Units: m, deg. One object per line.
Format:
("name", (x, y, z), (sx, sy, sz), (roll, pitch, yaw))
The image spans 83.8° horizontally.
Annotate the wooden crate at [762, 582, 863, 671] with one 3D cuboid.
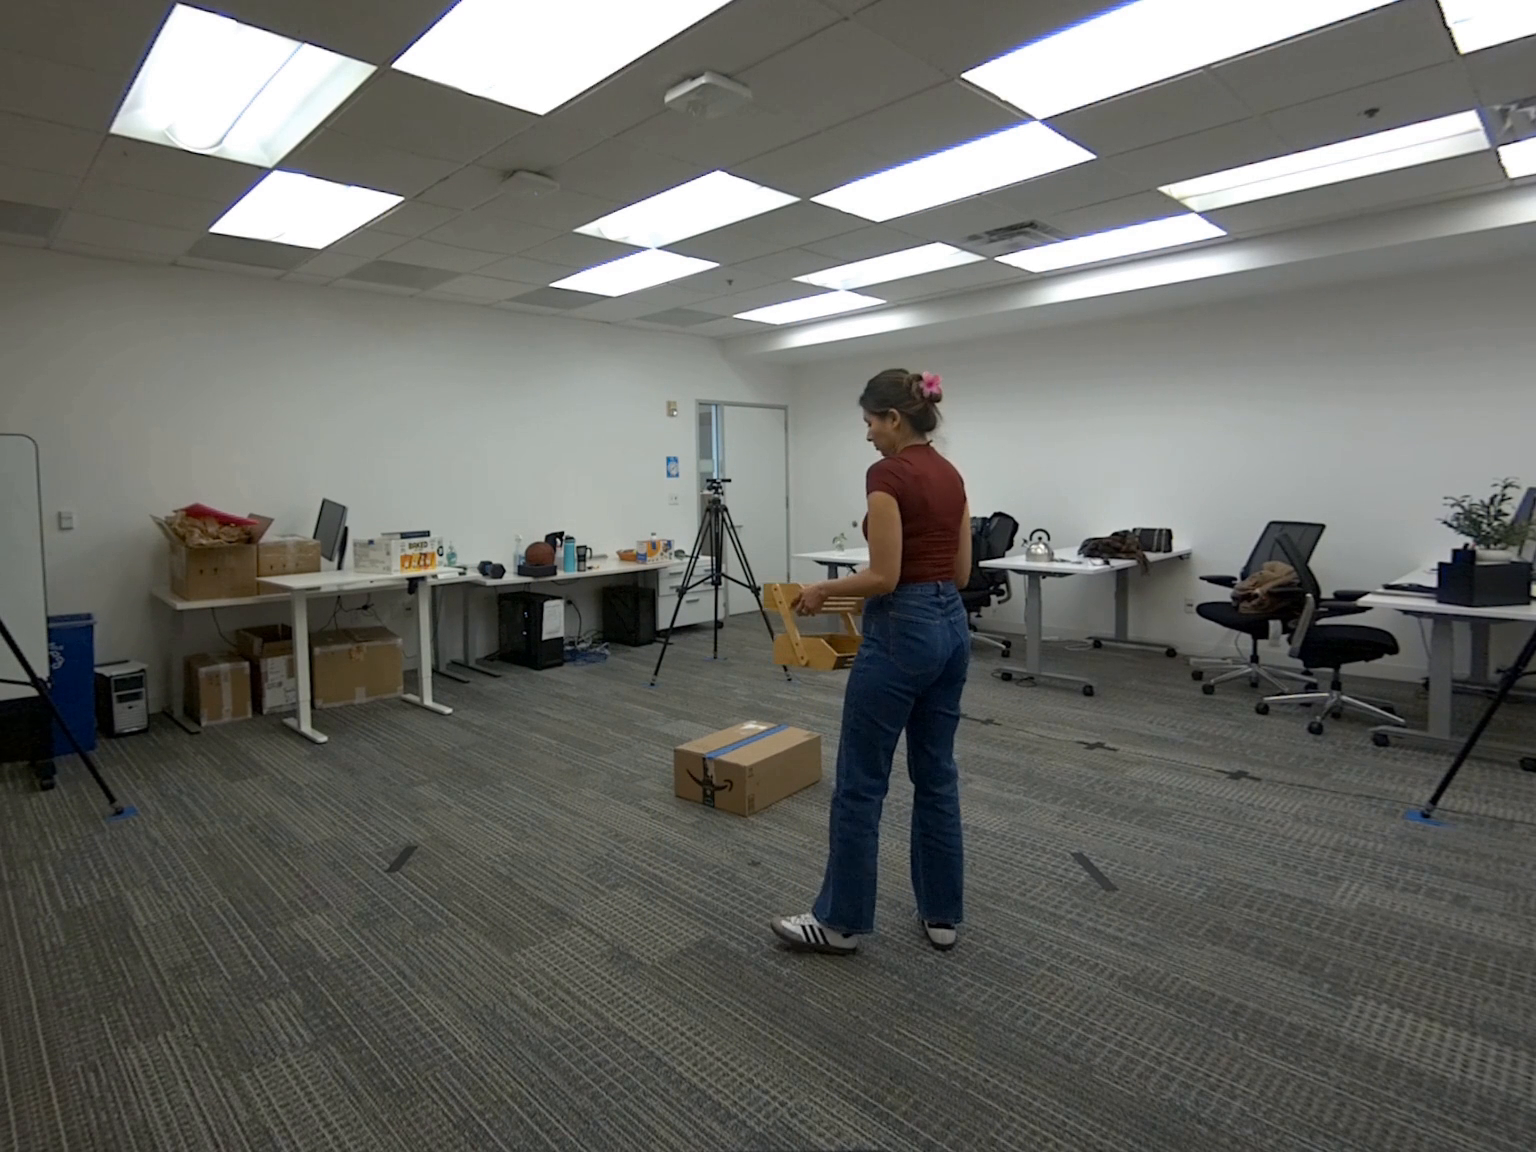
("wooden crate", (0.185, 0.153, 2.772), (0.310, 0.274, 0.314), (-2, -4, 44))
